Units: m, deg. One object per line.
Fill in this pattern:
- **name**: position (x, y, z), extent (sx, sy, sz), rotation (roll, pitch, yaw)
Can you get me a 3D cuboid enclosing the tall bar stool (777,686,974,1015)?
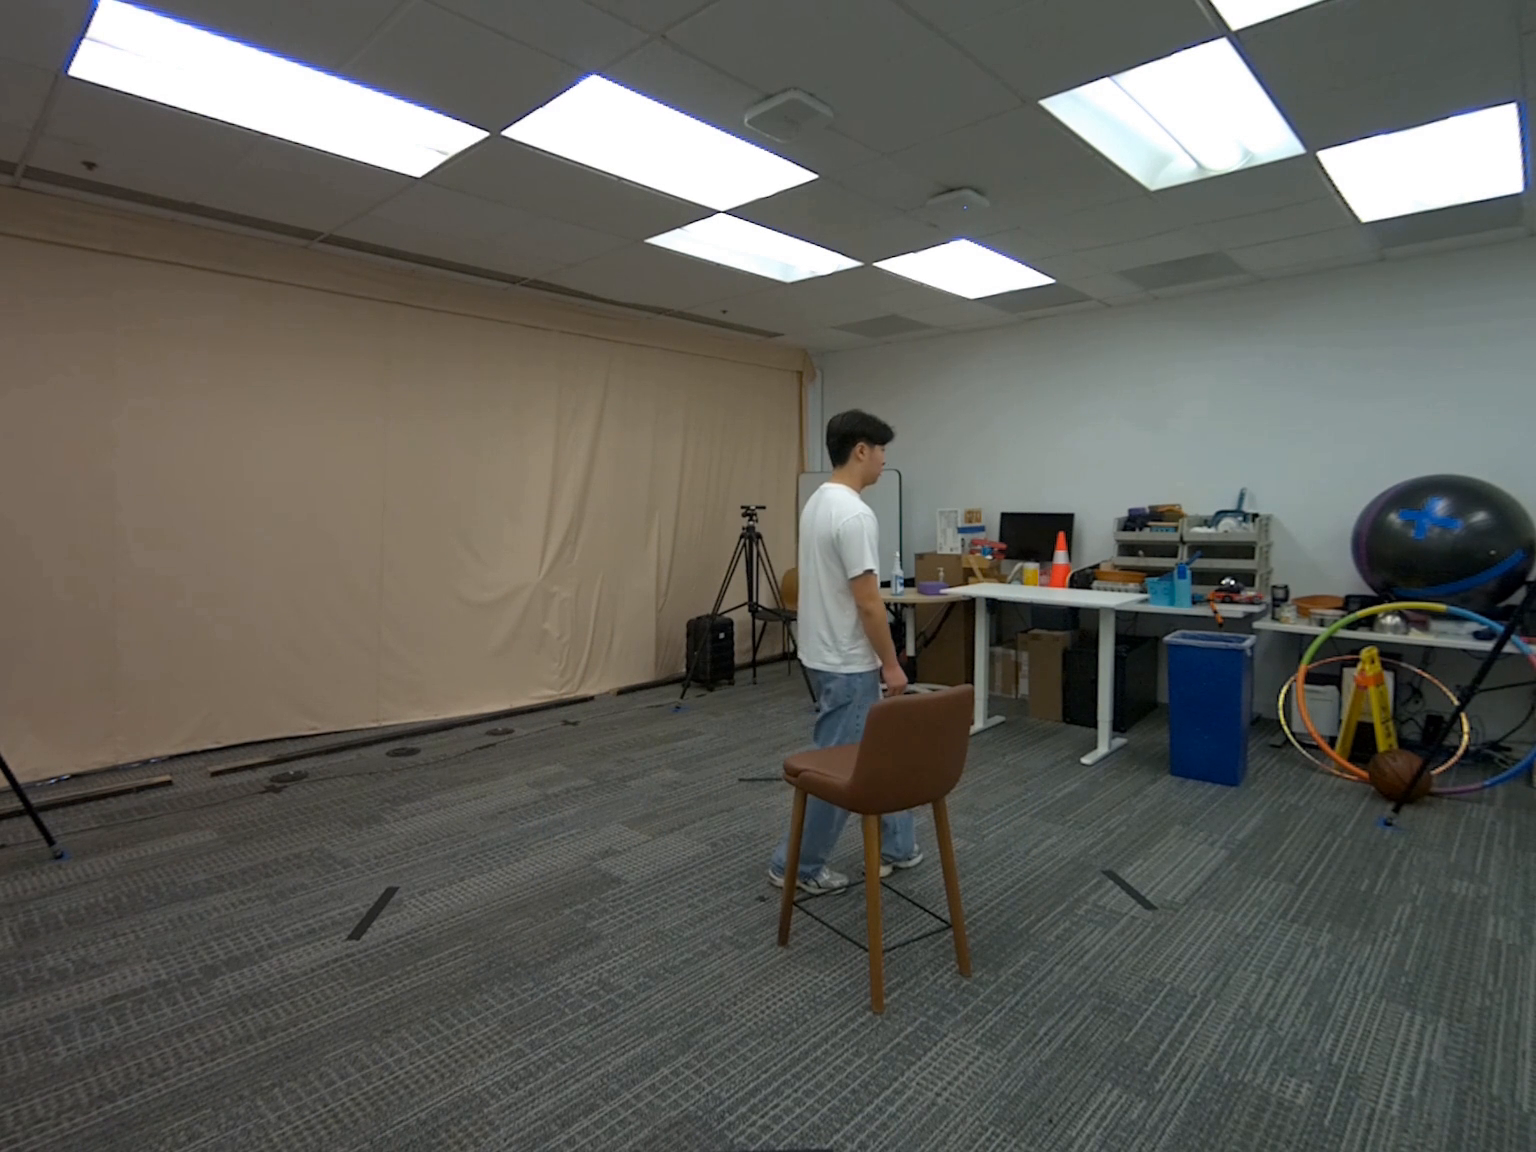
- **tall bar stool**: position (0.332, 0.742, 2.561), extent (0.443, 0.887, 0.482), rotation (-2, 6, -34)
